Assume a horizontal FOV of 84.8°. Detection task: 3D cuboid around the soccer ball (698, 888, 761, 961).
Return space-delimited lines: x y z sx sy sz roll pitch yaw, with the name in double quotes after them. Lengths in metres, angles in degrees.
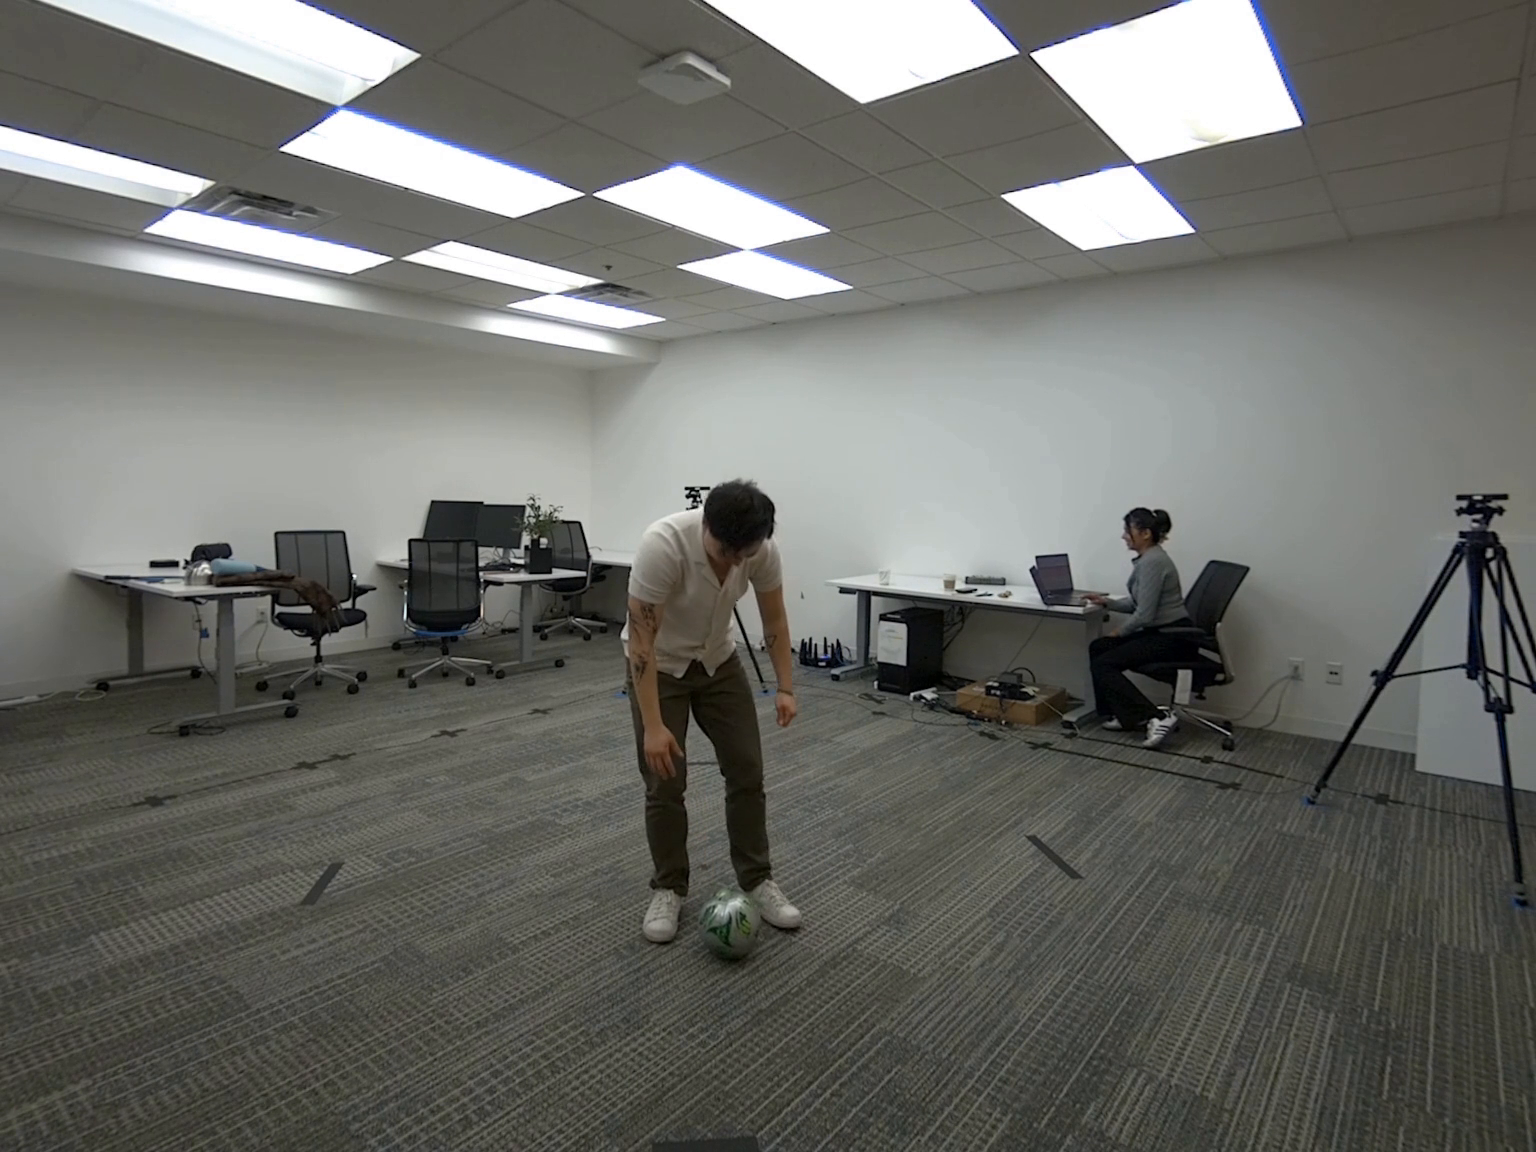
-0.123 1.034 2.525 0.187 0.187 0.188 1 4 -2 "soccer ball"
